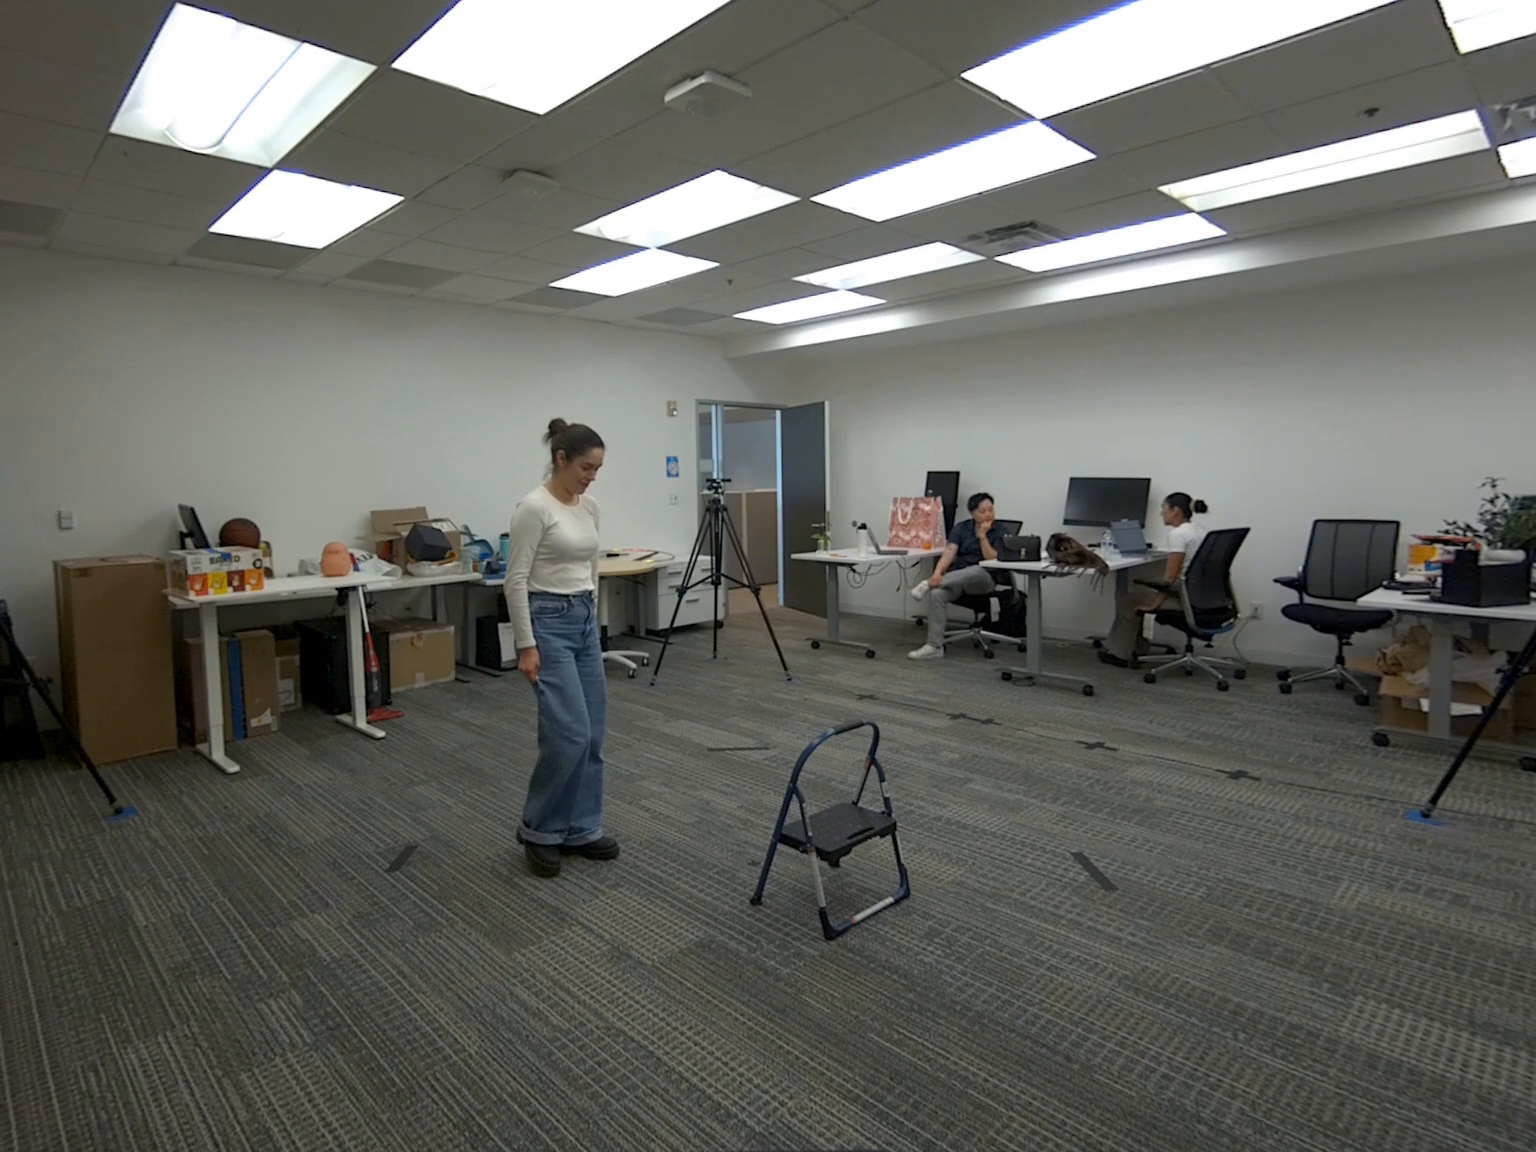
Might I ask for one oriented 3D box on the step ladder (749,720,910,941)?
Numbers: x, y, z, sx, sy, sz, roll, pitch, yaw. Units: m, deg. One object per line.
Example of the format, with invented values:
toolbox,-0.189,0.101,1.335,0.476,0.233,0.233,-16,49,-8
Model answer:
step ladder,0.206,0.770,2.809,0.419,0.604,0.360,-6,6,-44
